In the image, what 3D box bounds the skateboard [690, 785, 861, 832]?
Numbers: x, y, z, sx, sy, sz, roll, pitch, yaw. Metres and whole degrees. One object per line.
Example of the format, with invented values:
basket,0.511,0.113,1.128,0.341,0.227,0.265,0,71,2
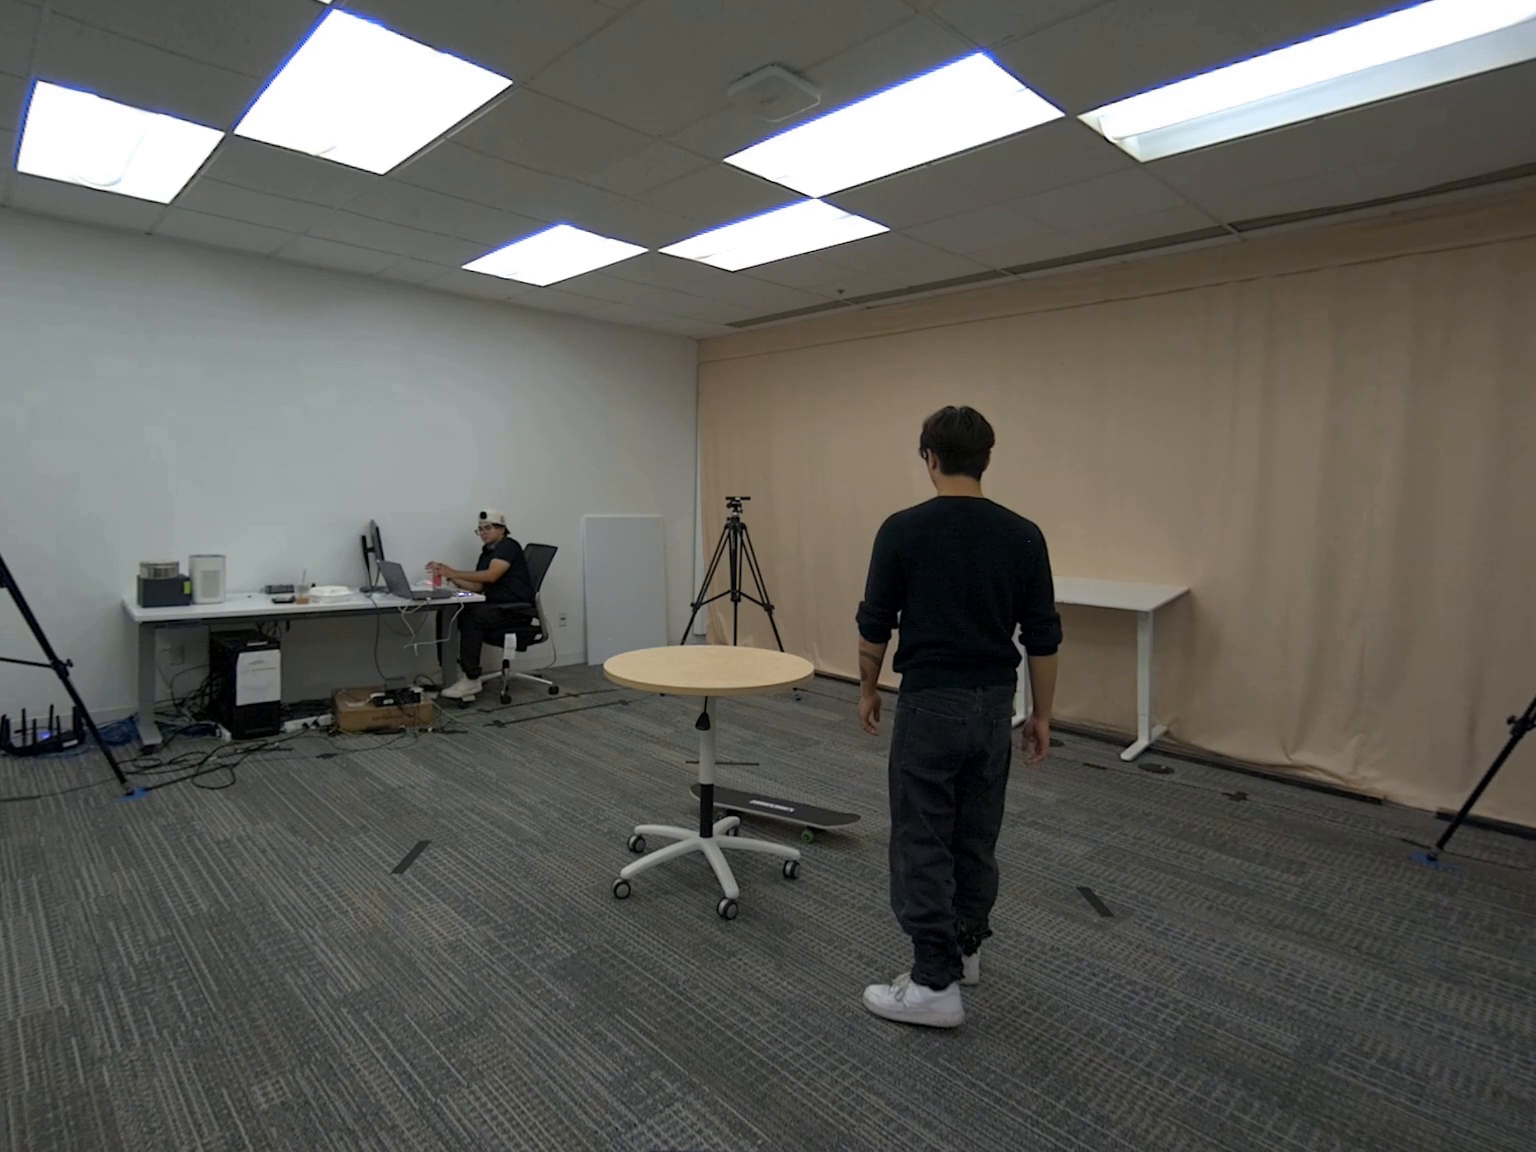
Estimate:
skateboard,0.012,1.006,3.589,0.802,0.110,0.190,4,5,29
